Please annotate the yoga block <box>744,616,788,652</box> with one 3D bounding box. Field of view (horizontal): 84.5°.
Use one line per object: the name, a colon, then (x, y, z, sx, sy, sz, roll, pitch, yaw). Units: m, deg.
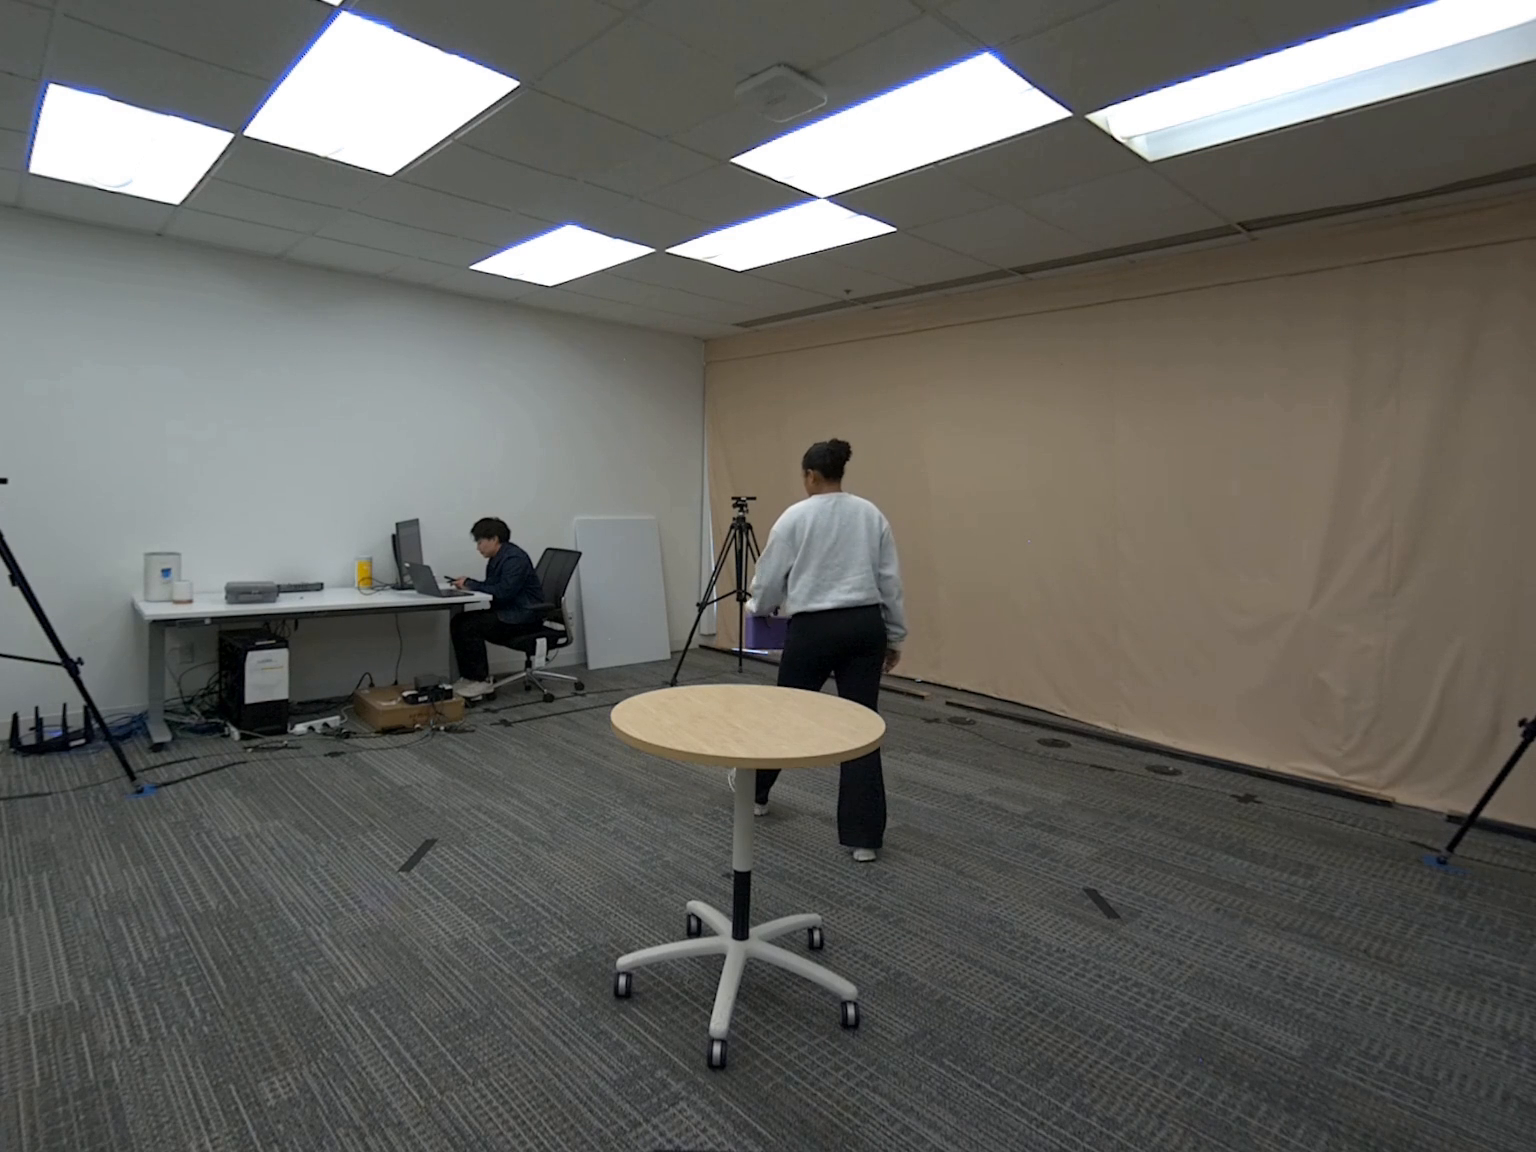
yoga block: (0.011, 0.249, 3.727, 0.225, 0.149, 0.078, 3, -2, -24)
